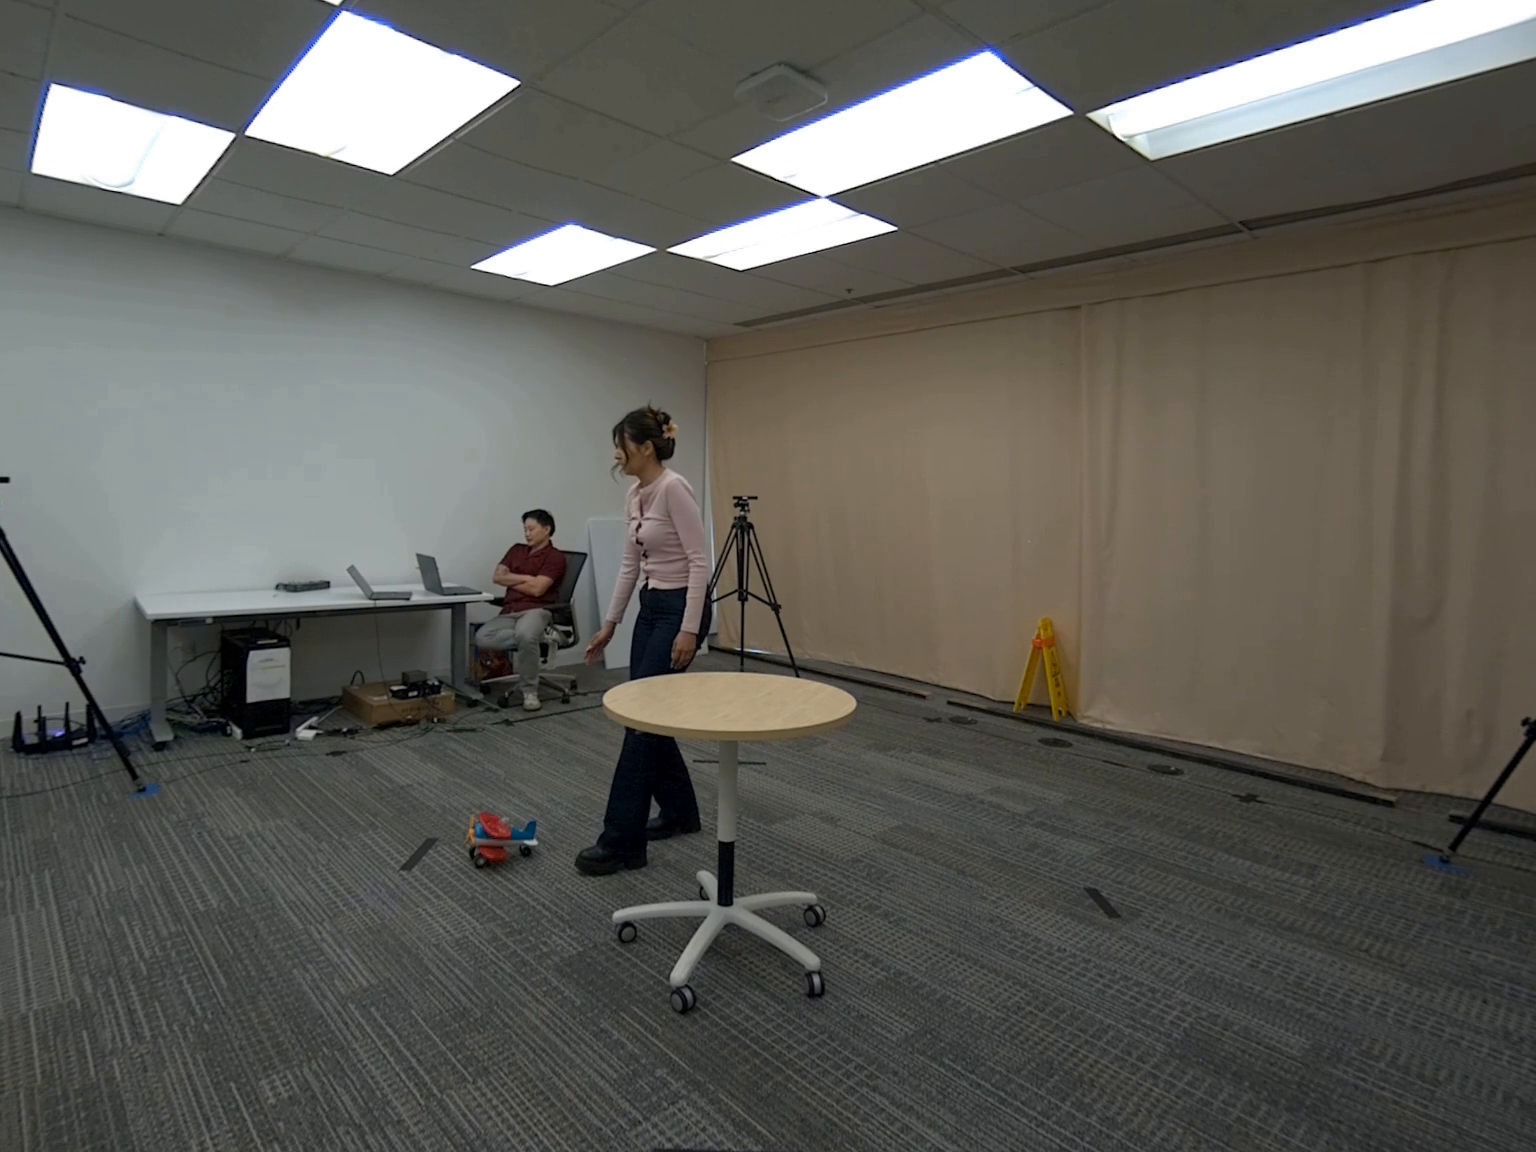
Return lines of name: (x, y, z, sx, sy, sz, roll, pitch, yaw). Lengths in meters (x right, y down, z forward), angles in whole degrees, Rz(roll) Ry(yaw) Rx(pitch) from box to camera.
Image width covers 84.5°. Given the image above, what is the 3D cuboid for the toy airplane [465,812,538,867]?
toy airplane: (-1.037, 1.005, 3.200, 0.257, 0.156, 0.254, 3, 7, 32)
